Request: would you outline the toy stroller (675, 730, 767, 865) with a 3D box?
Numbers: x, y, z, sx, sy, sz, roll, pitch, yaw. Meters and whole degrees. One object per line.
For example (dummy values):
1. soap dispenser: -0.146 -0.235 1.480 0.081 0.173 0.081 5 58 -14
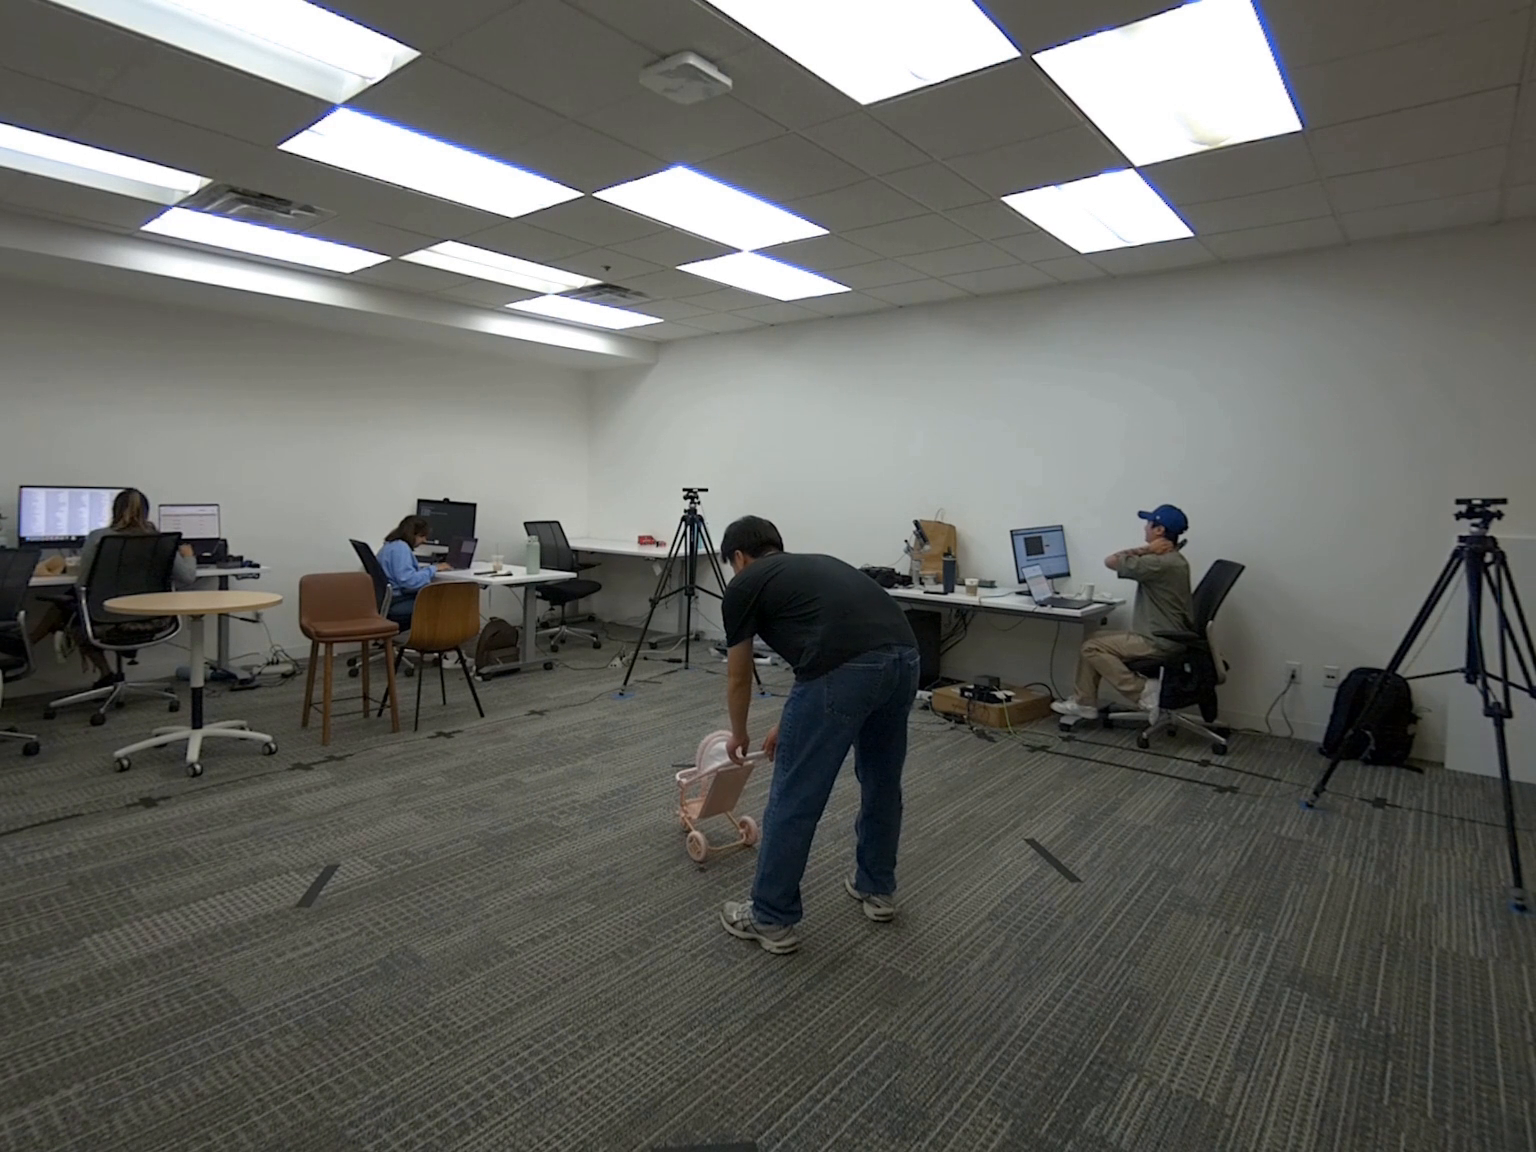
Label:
1. toy stroller: -0.217 0.829 3.297 0.273 0.528 0.356 -1 21 -36
